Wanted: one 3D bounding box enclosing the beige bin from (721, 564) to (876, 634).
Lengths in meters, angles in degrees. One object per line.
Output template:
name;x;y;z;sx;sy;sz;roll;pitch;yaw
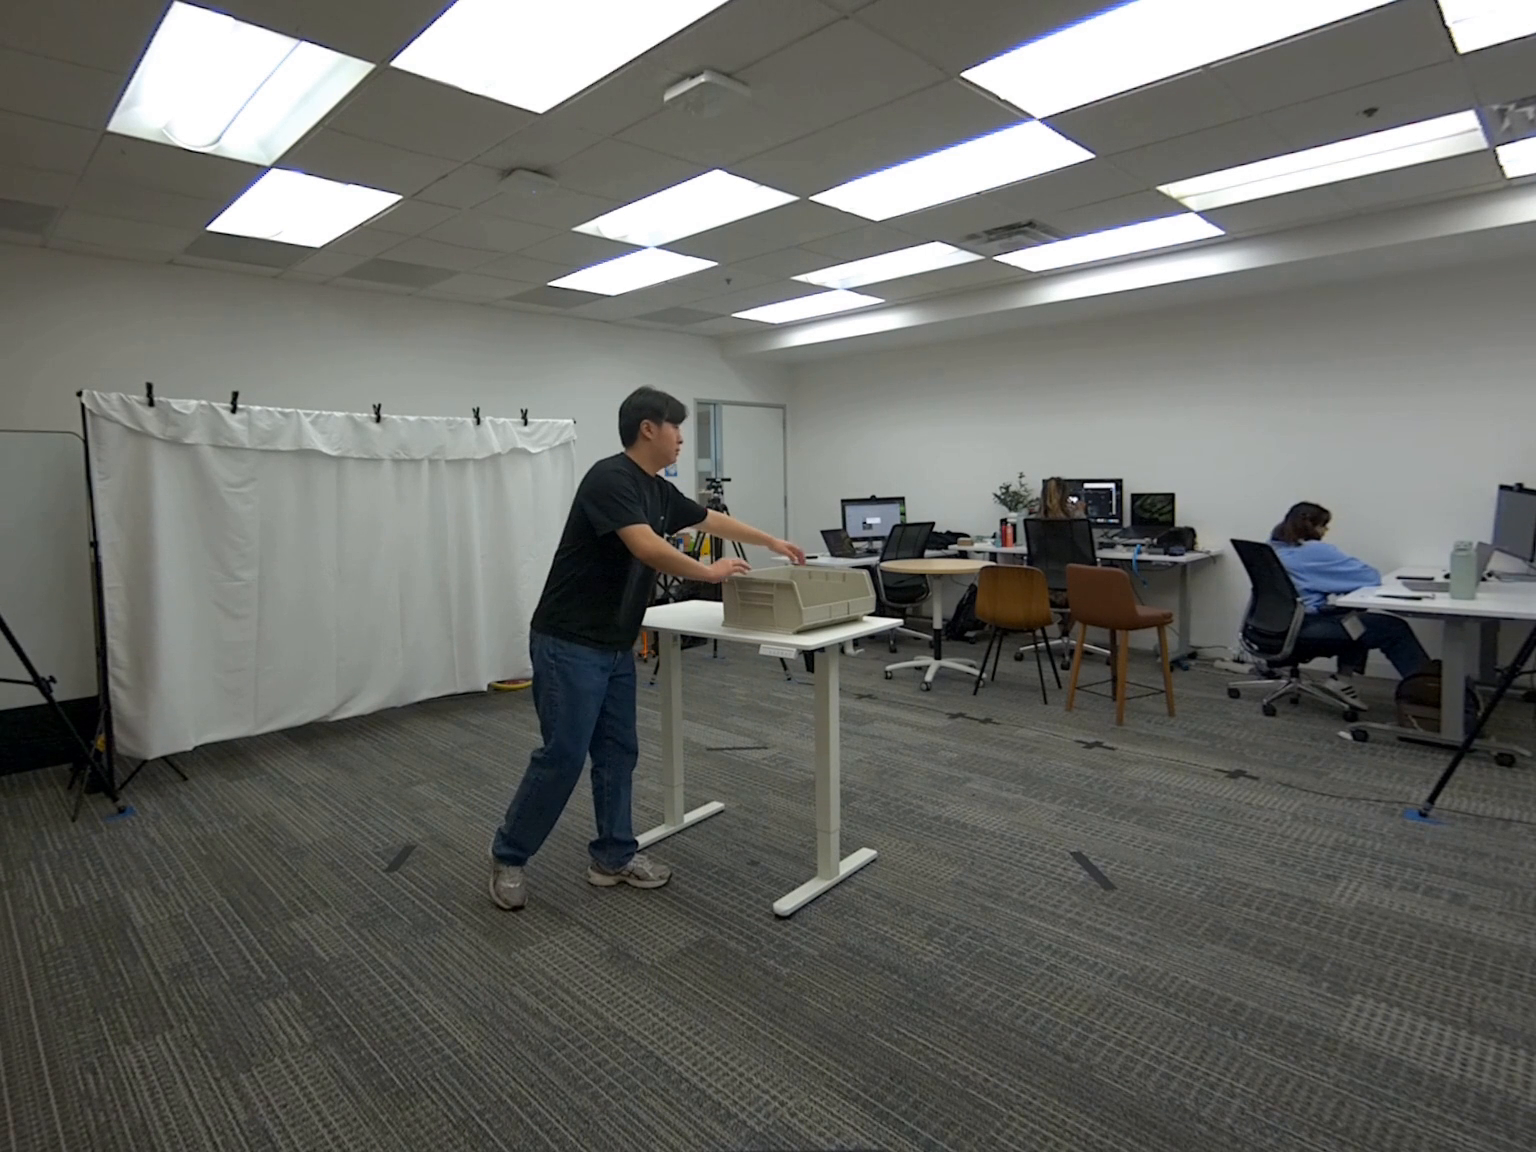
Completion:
beige bin;0.106;0.078;2.992;0.388;0.188;0.411;2;6;43
